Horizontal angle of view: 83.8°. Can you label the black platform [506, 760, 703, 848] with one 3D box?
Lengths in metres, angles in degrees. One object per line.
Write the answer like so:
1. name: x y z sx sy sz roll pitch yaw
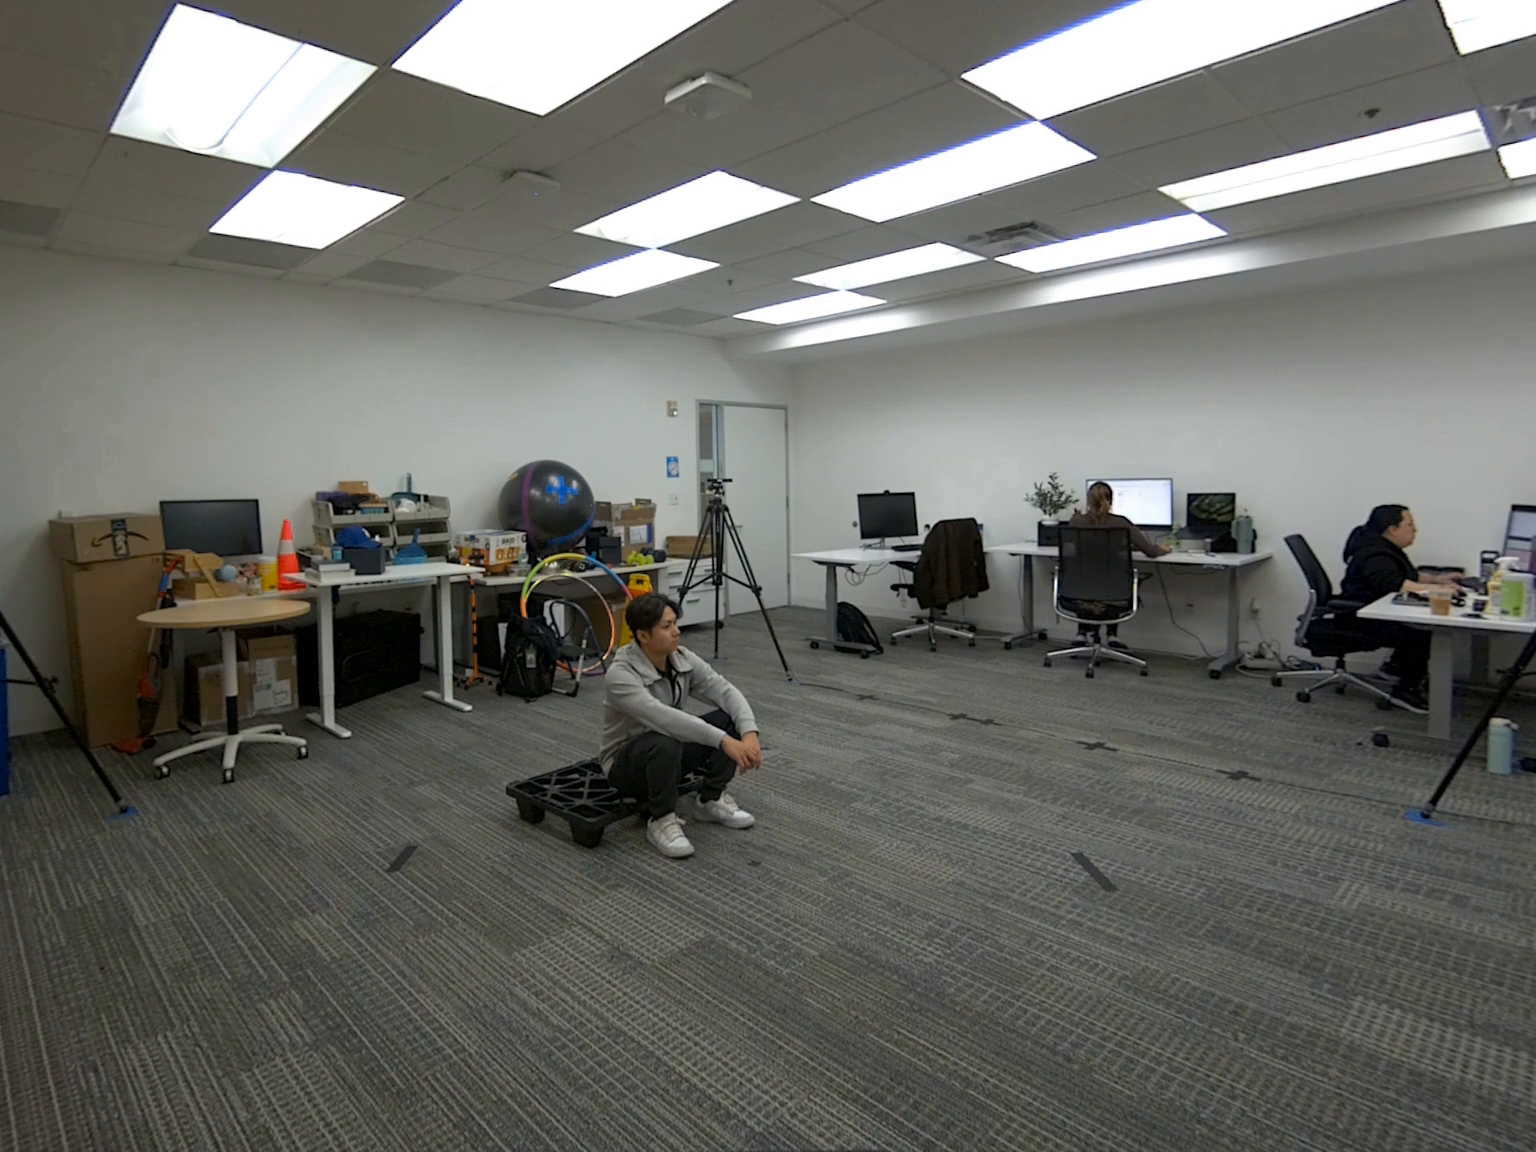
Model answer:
1. black platform: -0.617 0.926 3.672 0.624 0.142 0.785 5 9 41
